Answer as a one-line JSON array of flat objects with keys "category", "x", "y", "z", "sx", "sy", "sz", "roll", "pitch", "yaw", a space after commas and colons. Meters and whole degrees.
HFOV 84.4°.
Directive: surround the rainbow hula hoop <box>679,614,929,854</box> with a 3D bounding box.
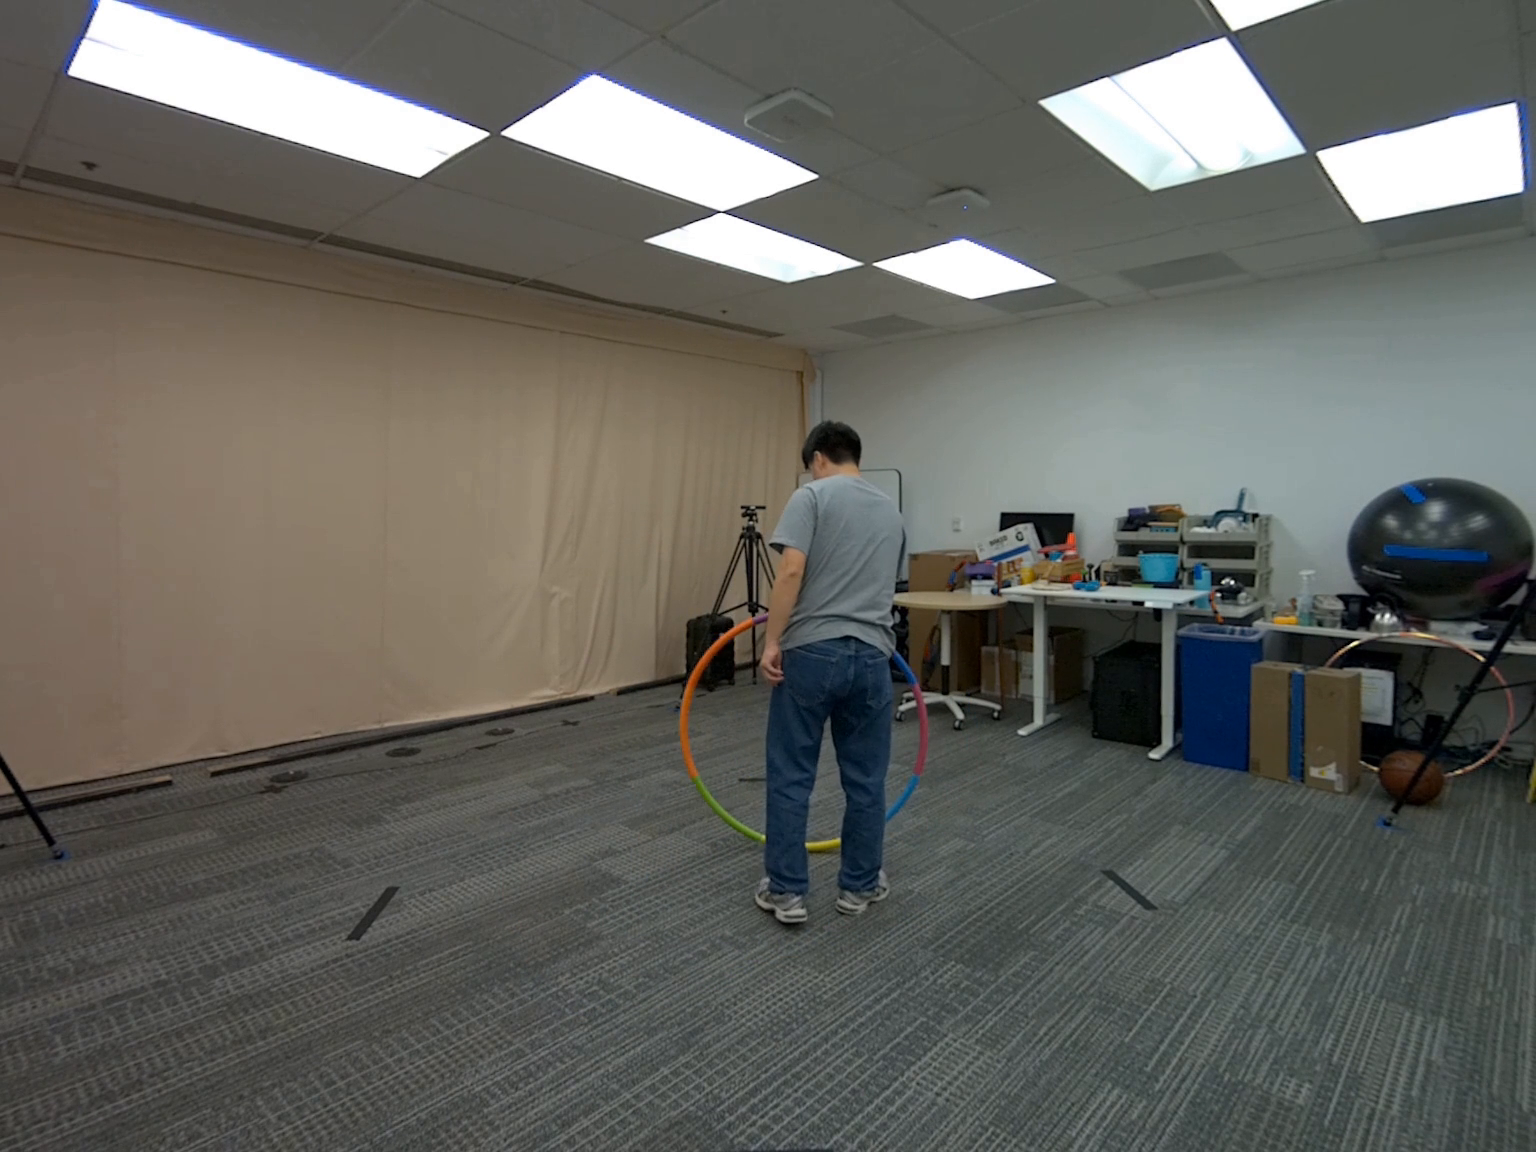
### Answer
[{"category": "rainbow hula hoop", "x": 0.140, "y": 0.622, "z": 3.382, "sx": 0.985, "sy": 0.977, "sz": 0.035, "roll": 0, "pitch": 1, "yaw": 6}]
